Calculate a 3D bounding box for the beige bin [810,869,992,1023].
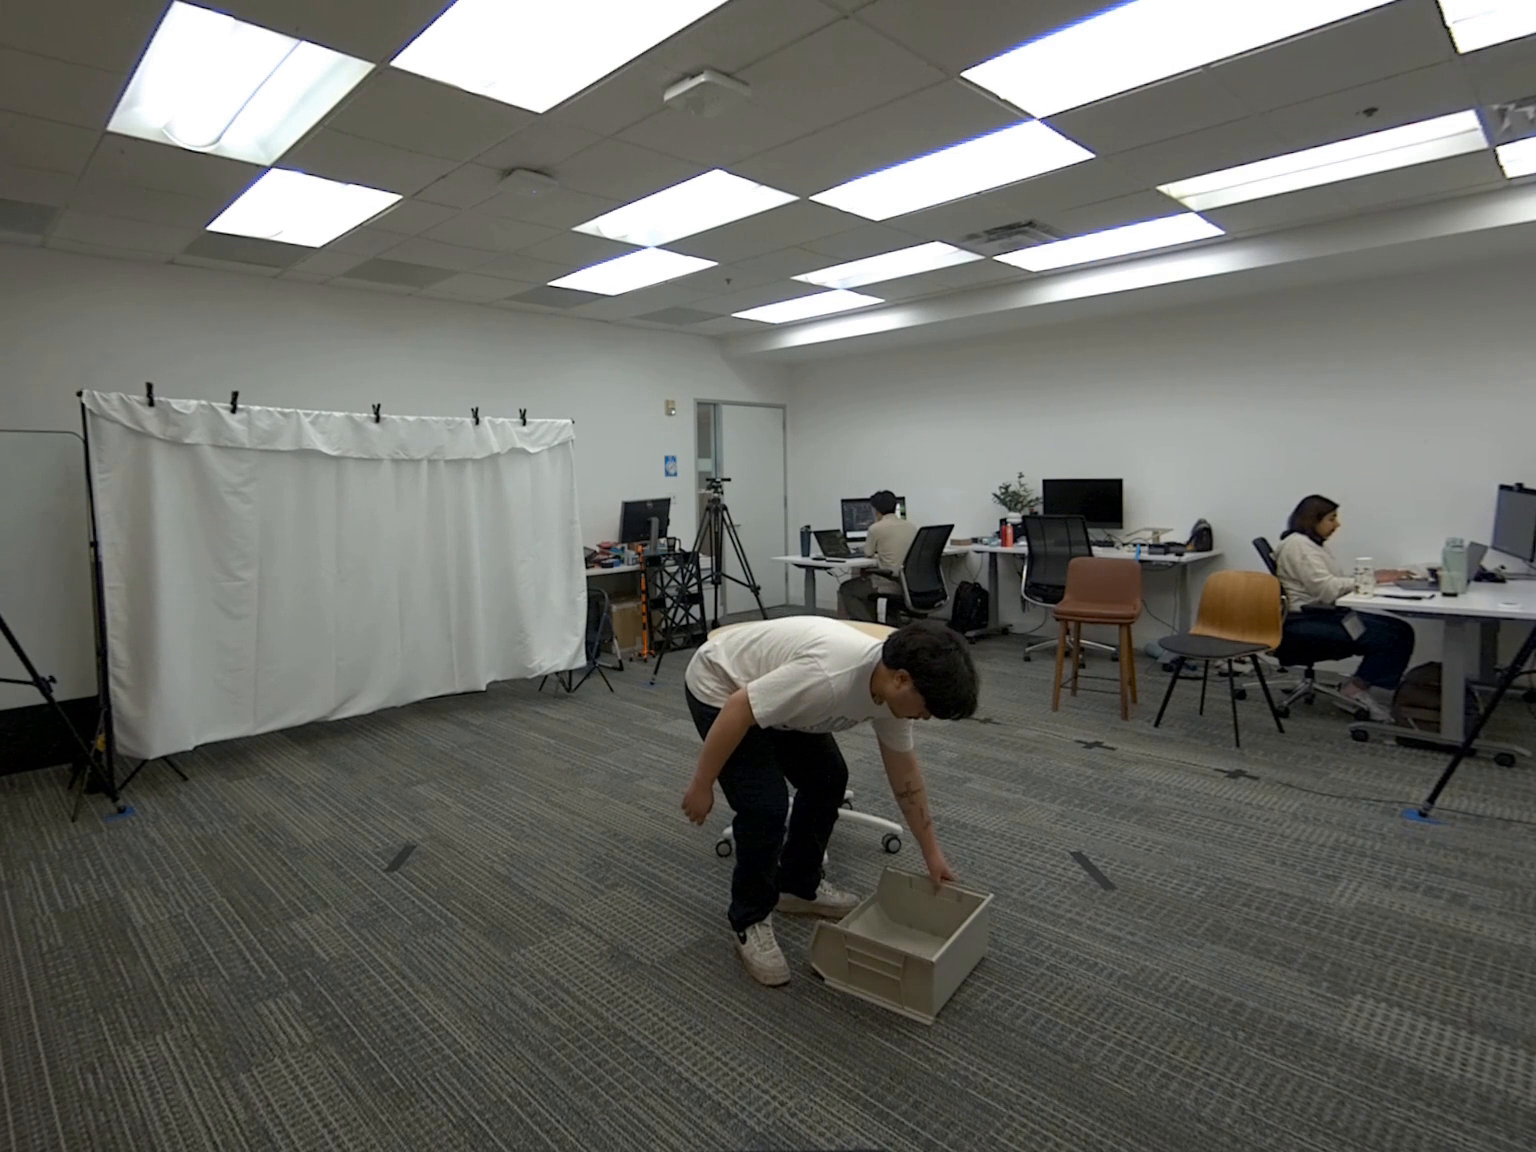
[{"bbox_3d":[0.391,1.026,2.428,0.388,0.188,0.412,4,7,36],"label":"beige bin"}]
